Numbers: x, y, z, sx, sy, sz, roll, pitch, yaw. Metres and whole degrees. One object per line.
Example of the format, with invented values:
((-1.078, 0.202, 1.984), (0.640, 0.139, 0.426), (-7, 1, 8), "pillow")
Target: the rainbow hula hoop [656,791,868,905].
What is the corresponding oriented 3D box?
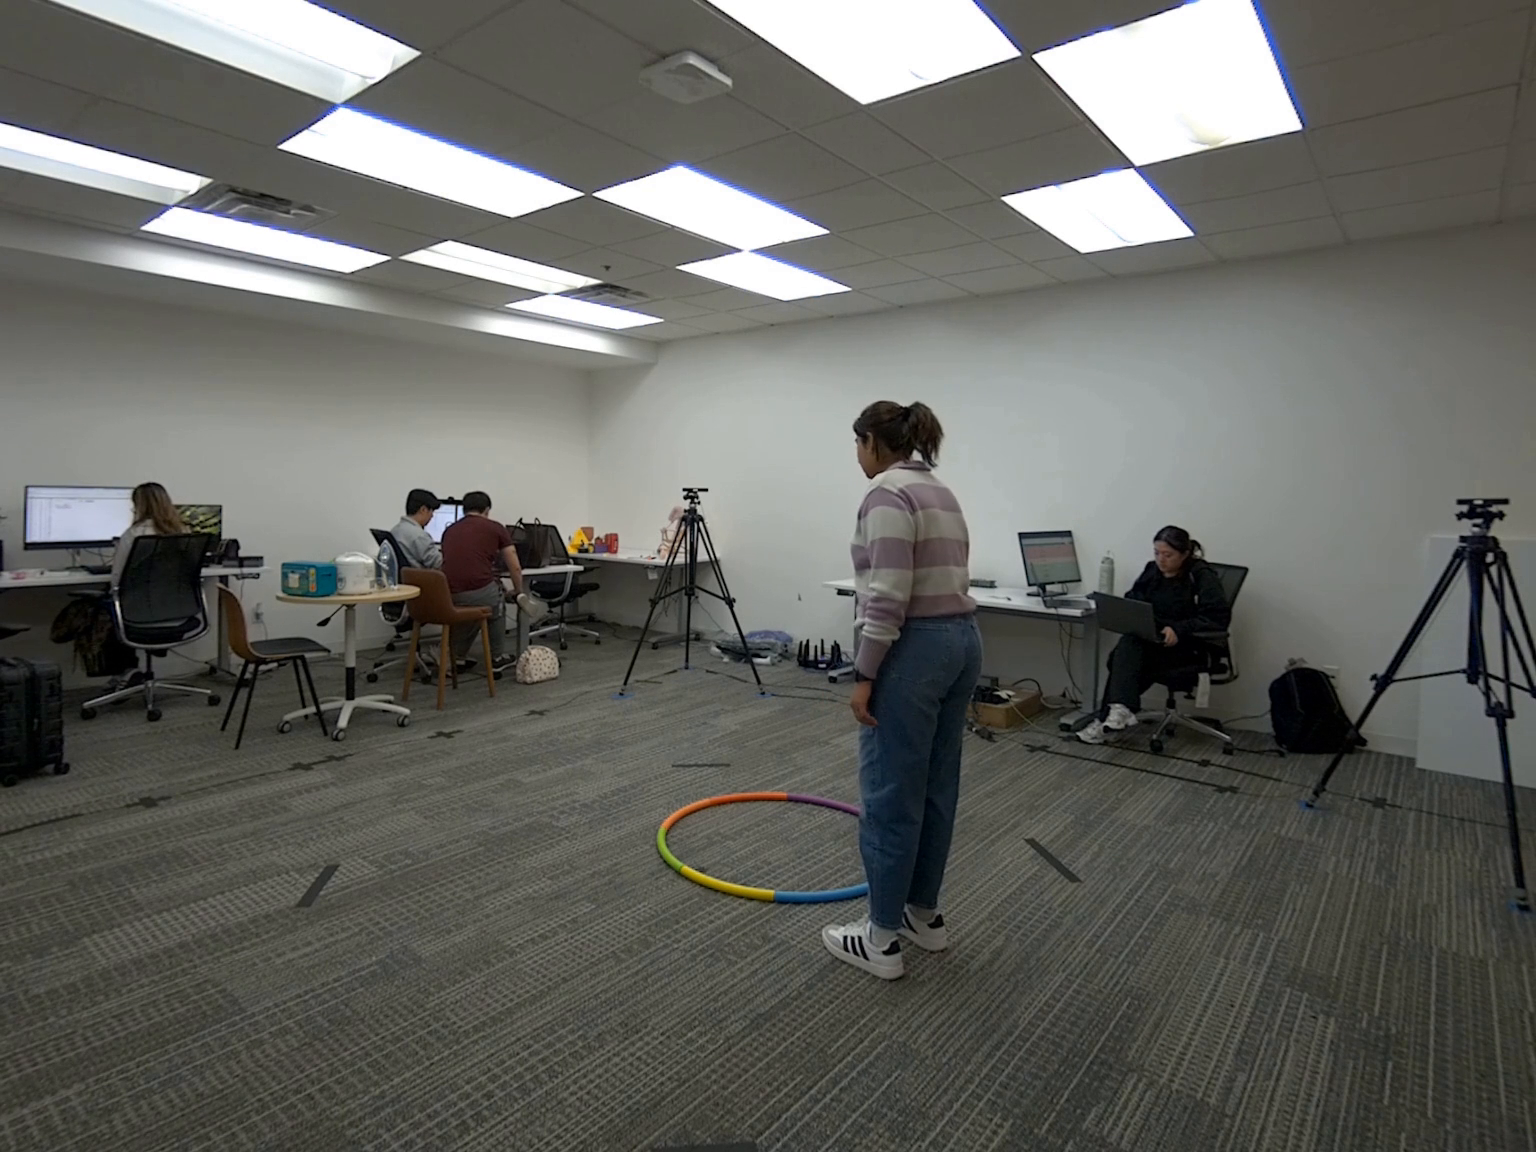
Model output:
((0.040, 1.026, 3.346), (0.984, 0.051, 0.991), (1, 6, -2), "rainbow hula hoop")
